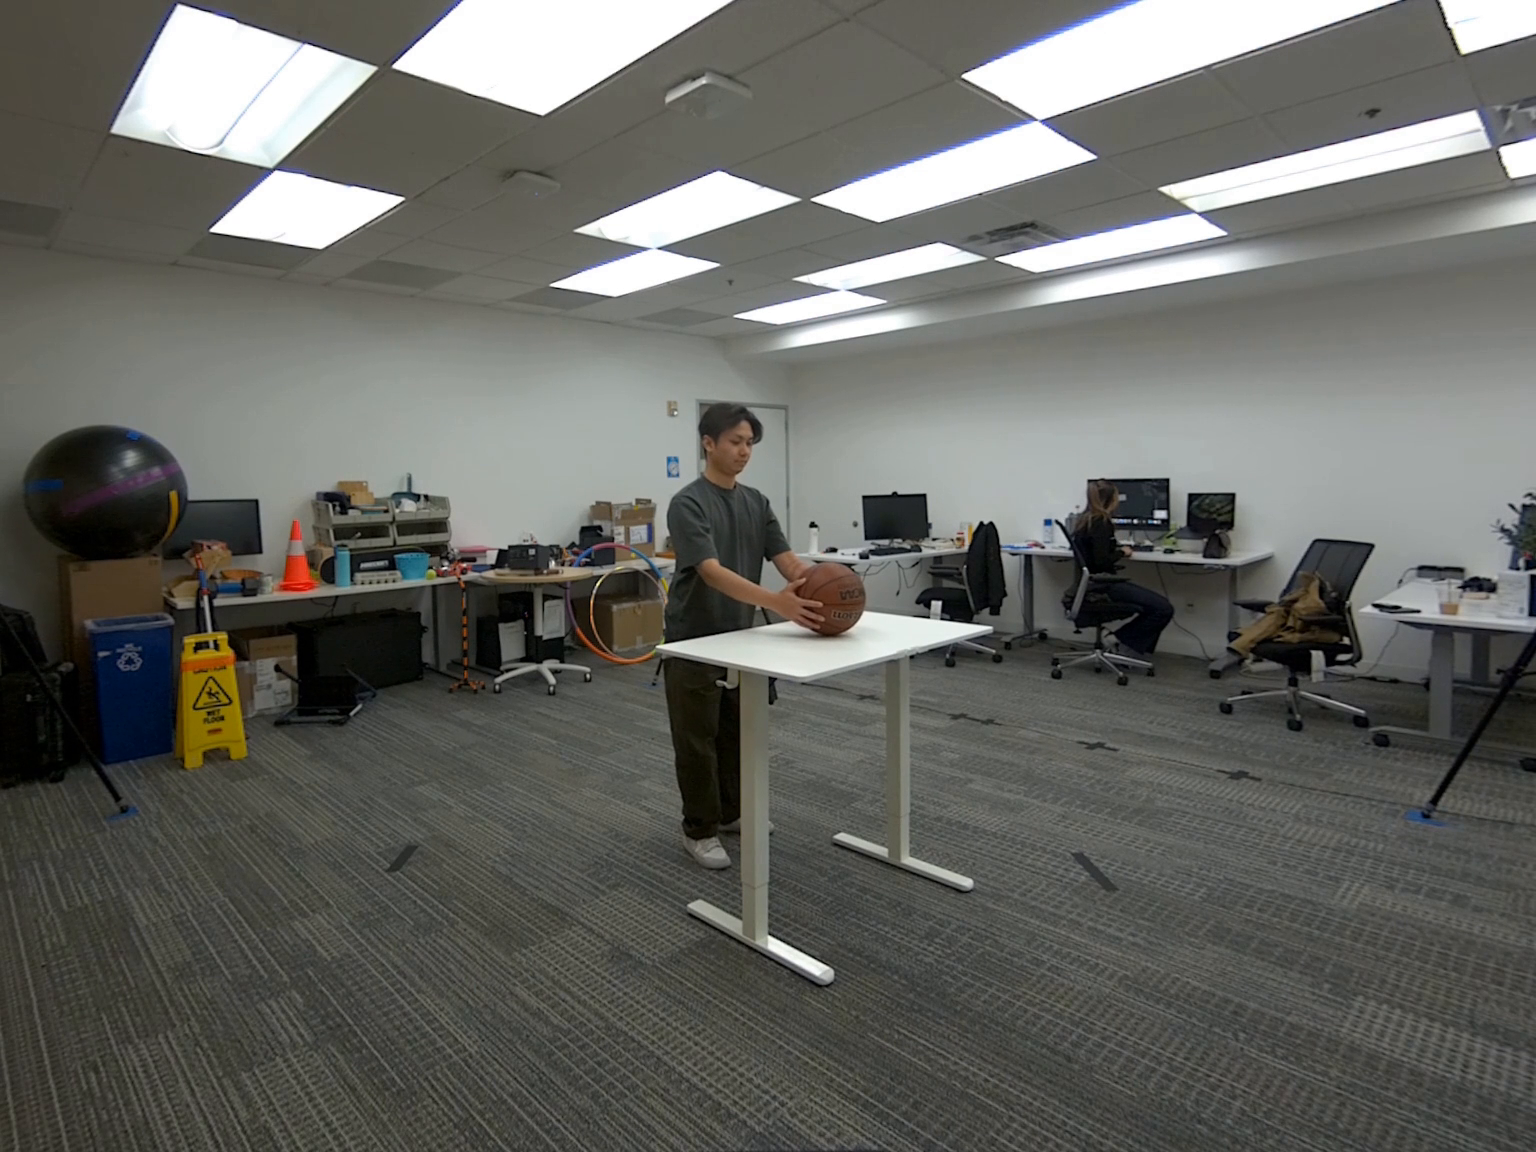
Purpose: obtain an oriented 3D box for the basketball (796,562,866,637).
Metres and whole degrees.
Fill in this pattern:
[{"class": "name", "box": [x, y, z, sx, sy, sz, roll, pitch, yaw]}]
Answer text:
[{"class": "basketball", "box": [0.198, 0.073, 2.802, 0.236, 0.235, 0.237, -1, 5, -2]}]
